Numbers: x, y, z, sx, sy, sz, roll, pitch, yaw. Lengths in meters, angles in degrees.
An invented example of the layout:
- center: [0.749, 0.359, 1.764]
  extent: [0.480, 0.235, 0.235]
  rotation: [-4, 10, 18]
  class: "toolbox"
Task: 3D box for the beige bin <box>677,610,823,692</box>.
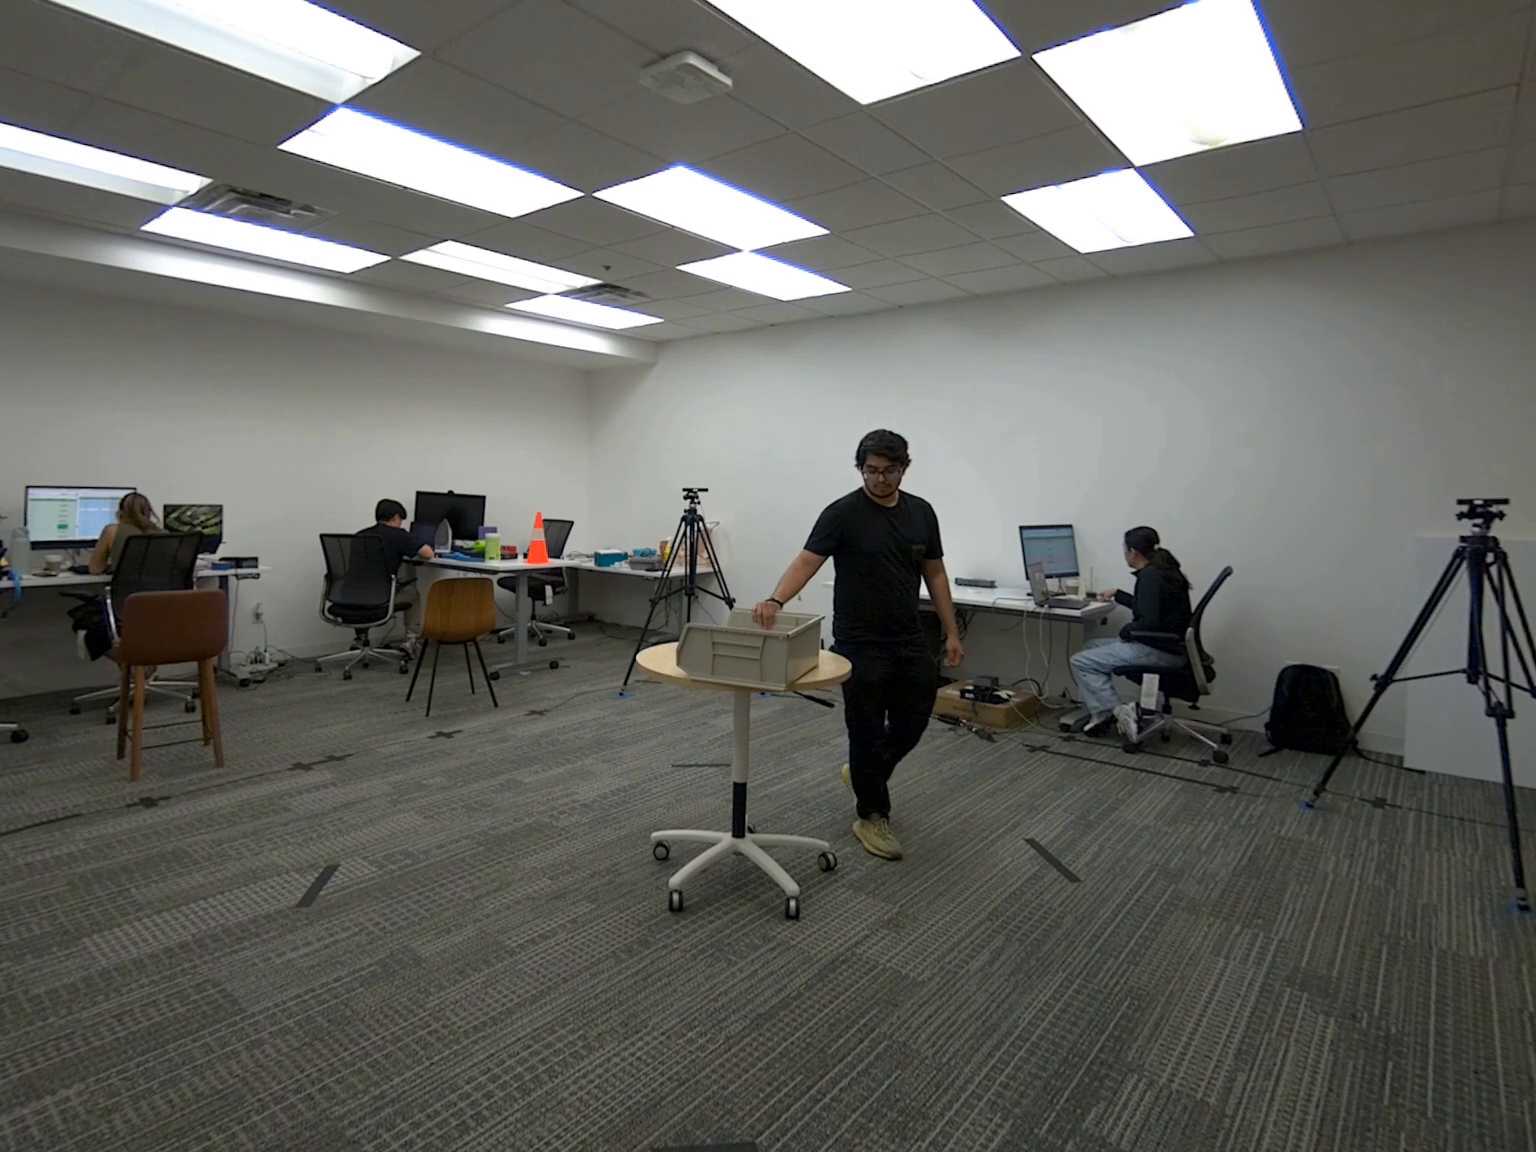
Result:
- center: [-0.057, 0.226, 2.829]
  extent: [0.386, 0.188, 0.415]
  rotation: [5, 6, 19]
  class: "beige bin"
